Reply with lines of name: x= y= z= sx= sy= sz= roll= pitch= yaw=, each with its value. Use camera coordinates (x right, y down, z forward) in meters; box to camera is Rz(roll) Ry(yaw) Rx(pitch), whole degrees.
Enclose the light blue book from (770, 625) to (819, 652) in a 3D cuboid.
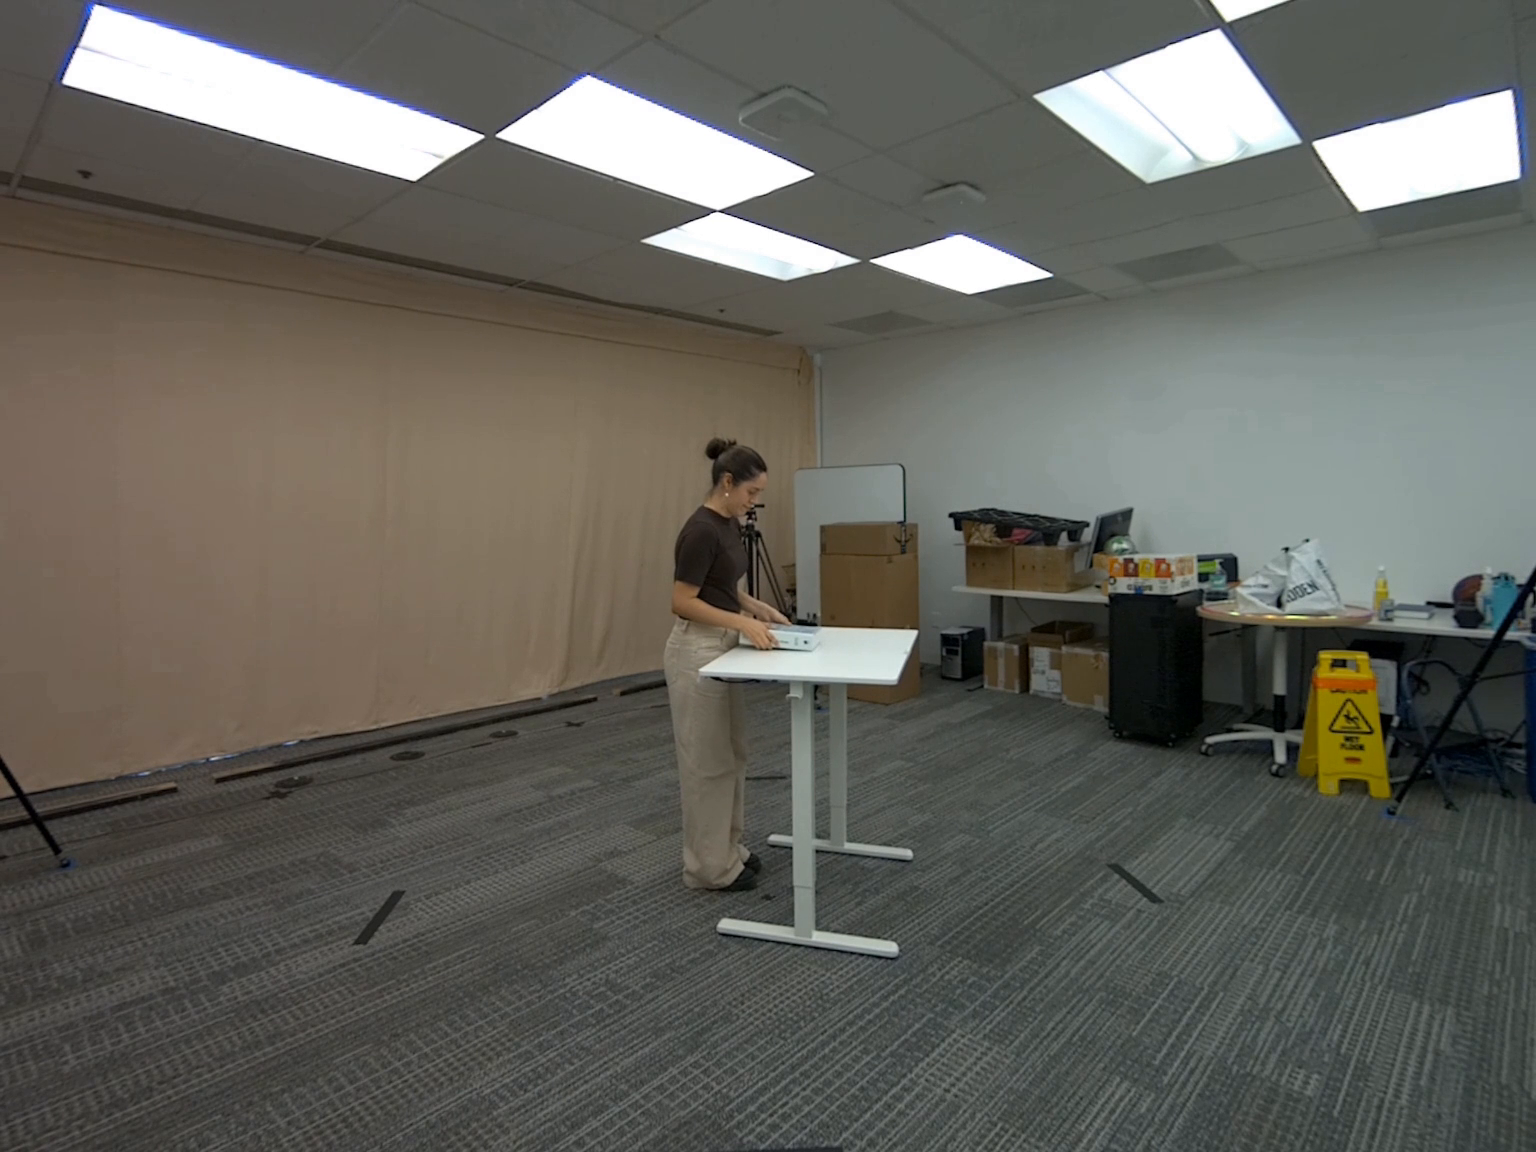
light blue book: x=0.056 y=0.218 z=3.013 sx=0.265 sy=0.059 sz=0.189 roll=3 pitch=6 yaw=14
